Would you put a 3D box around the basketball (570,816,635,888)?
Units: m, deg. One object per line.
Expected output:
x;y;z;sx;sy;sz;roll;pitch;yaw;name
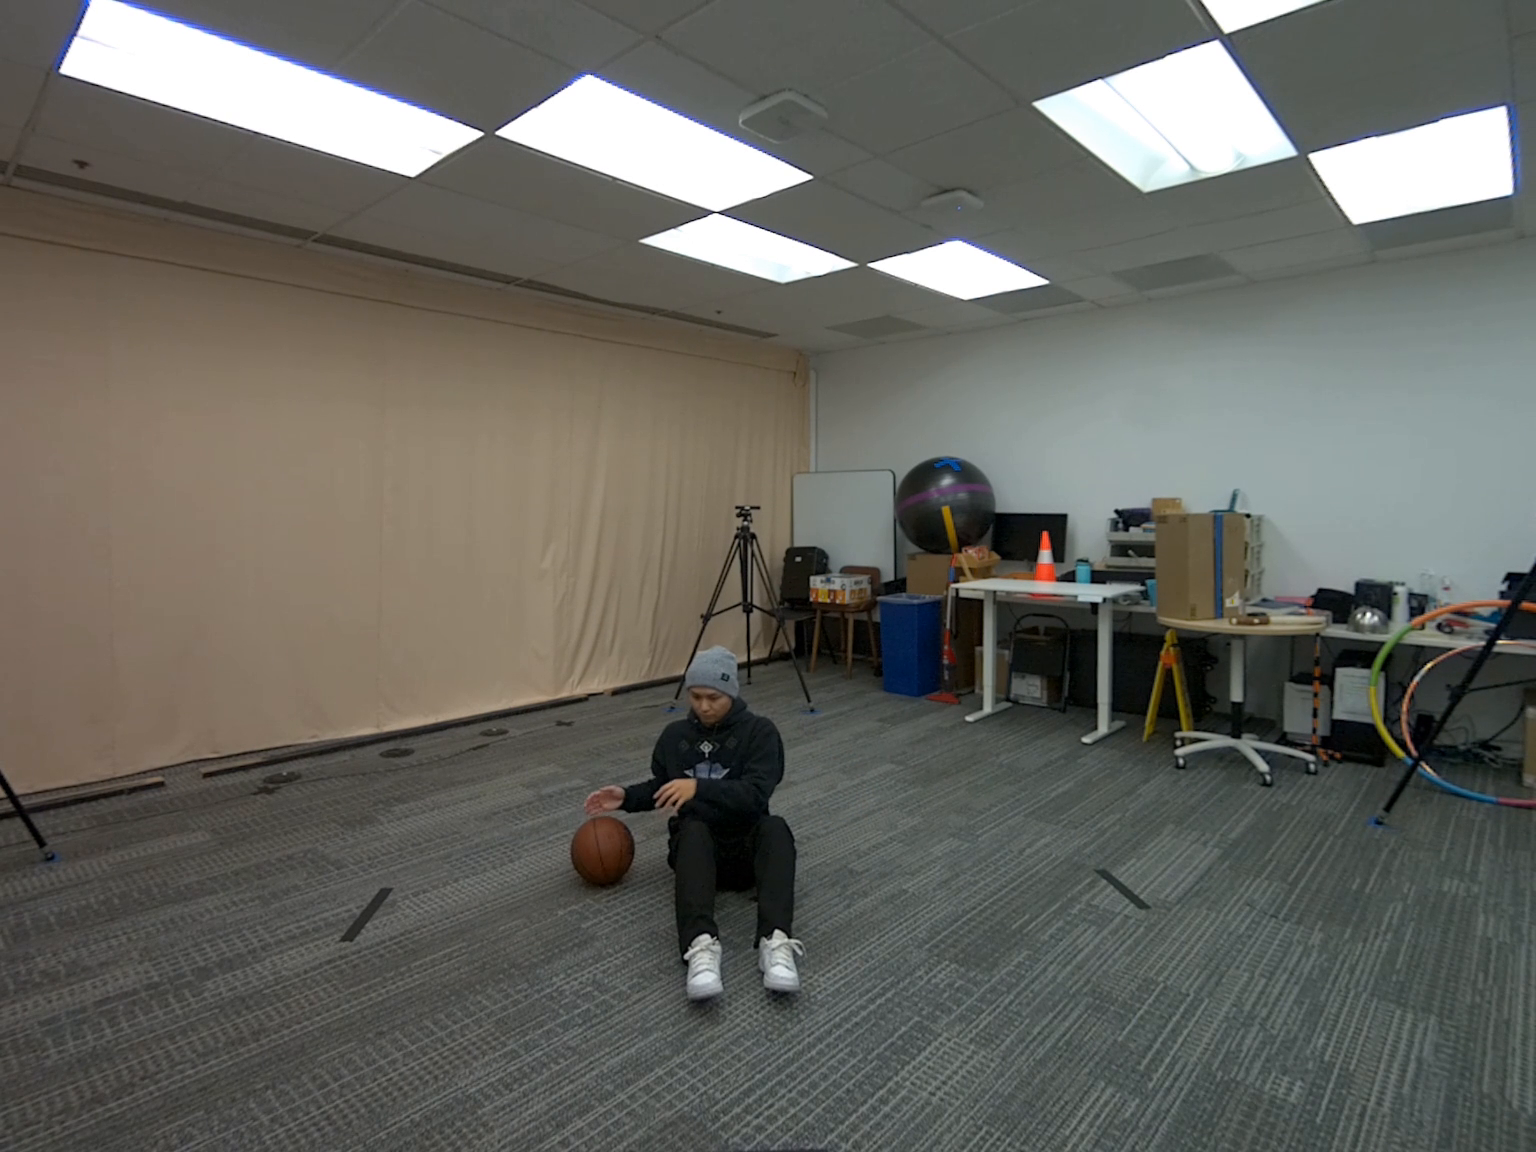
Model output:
-0.612;1.016;3.135;0.236;0.235;0.237;0;4;-2;basketball
